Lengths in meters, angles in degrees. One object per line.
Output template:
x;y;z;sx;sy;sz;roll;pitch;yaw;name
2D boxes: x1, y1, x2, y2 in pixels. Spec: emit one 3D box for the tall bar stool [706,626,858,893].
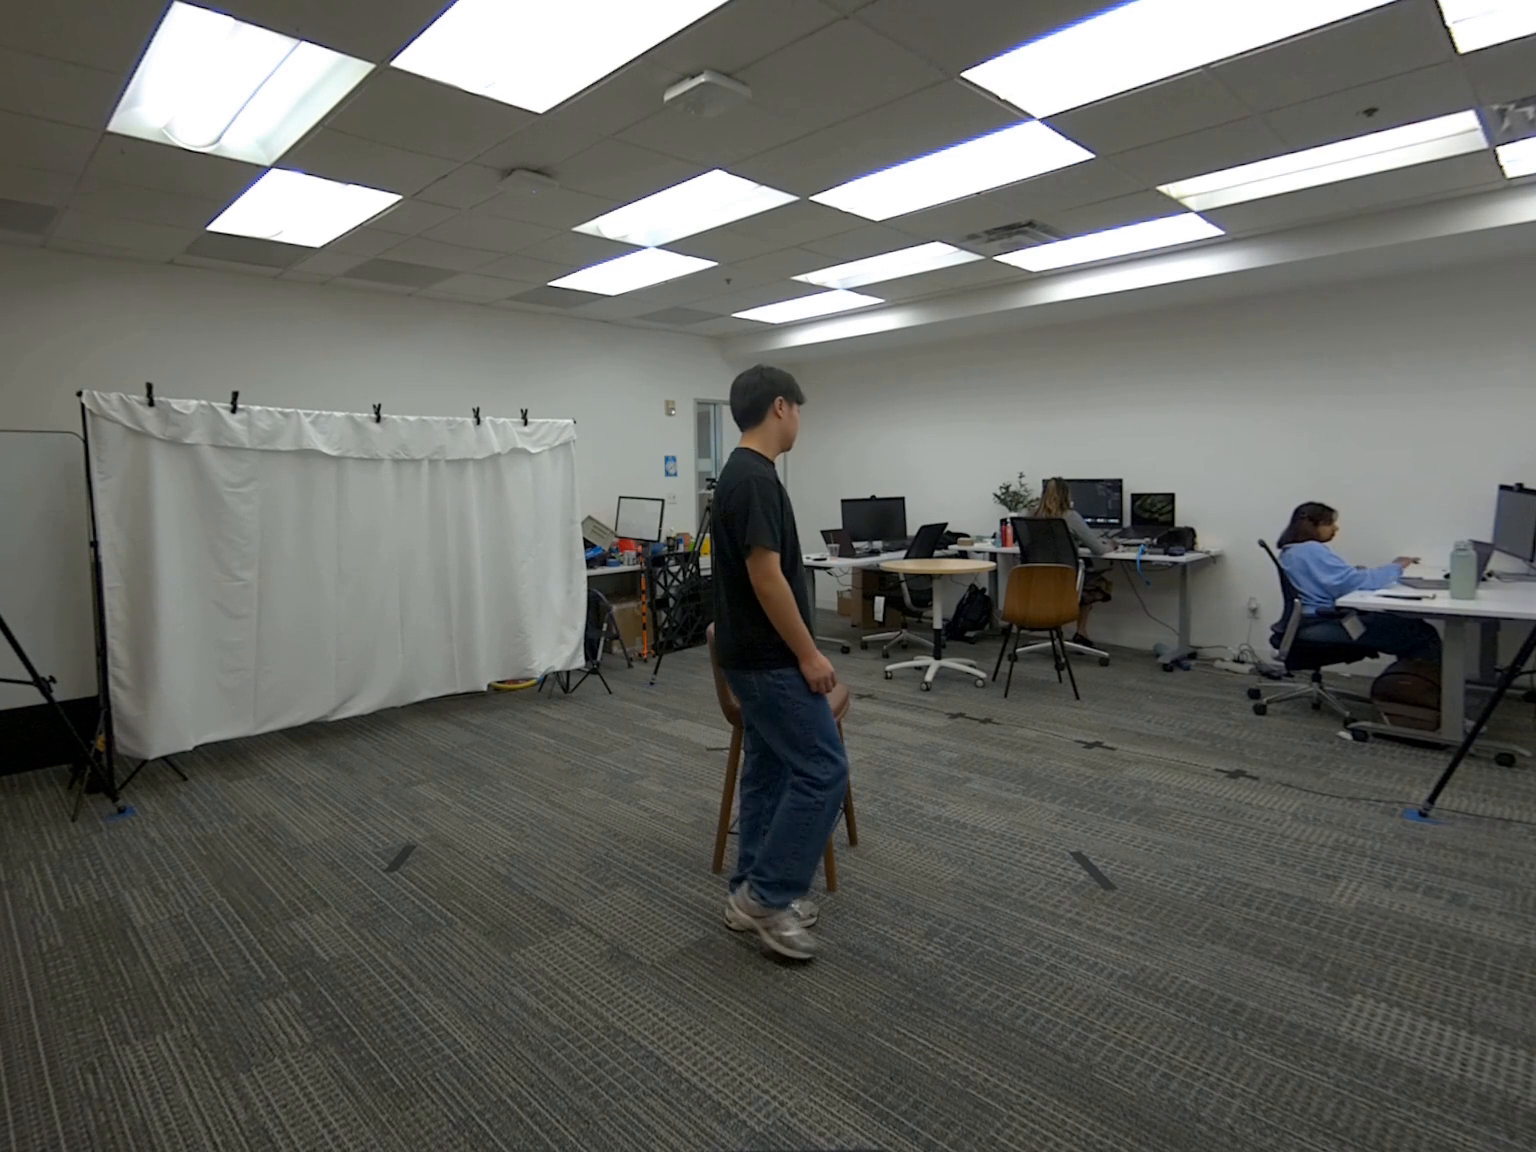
0.062;0.605;3.118;0.476;0.887;0.449;0;3;19;tall bar stool
